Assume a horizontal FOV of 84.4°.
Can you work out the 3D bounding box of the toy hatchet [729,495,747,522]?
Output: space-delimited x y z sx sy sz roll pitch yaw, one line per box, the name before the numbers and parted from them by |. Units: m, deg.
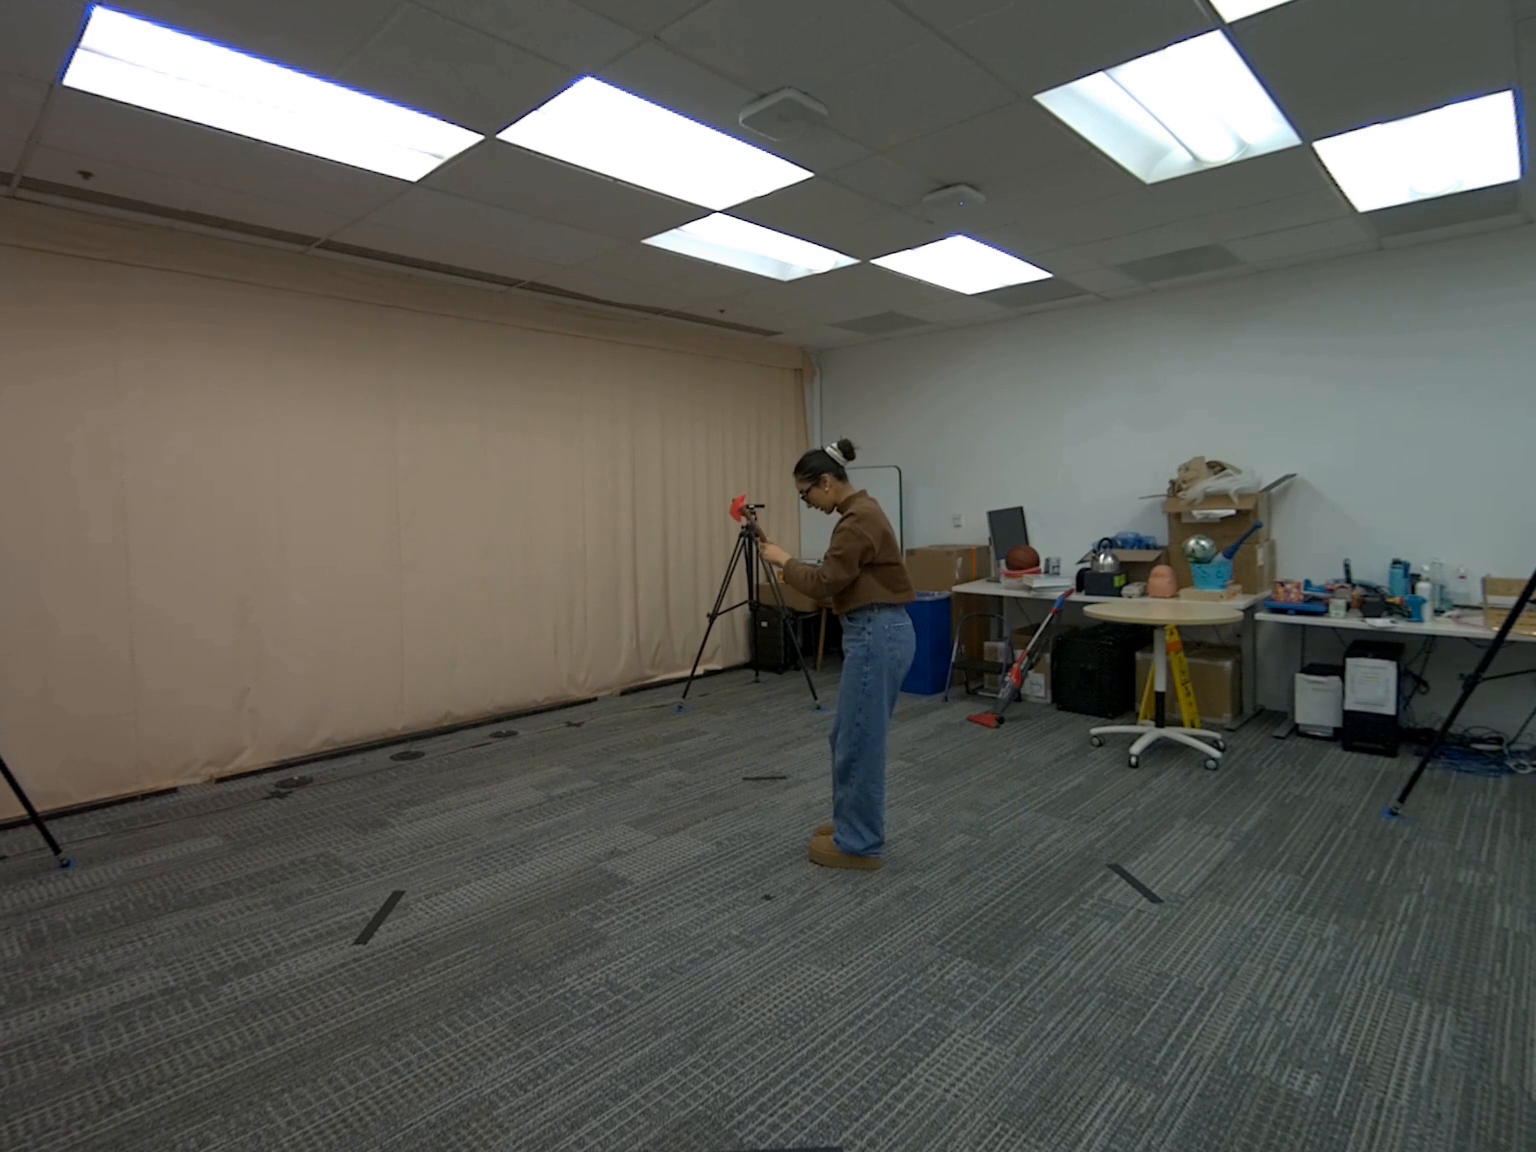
toy hatchet | -0.067 -0.195 3.363 0.029 0.272 0.133 -19 -9 -47
